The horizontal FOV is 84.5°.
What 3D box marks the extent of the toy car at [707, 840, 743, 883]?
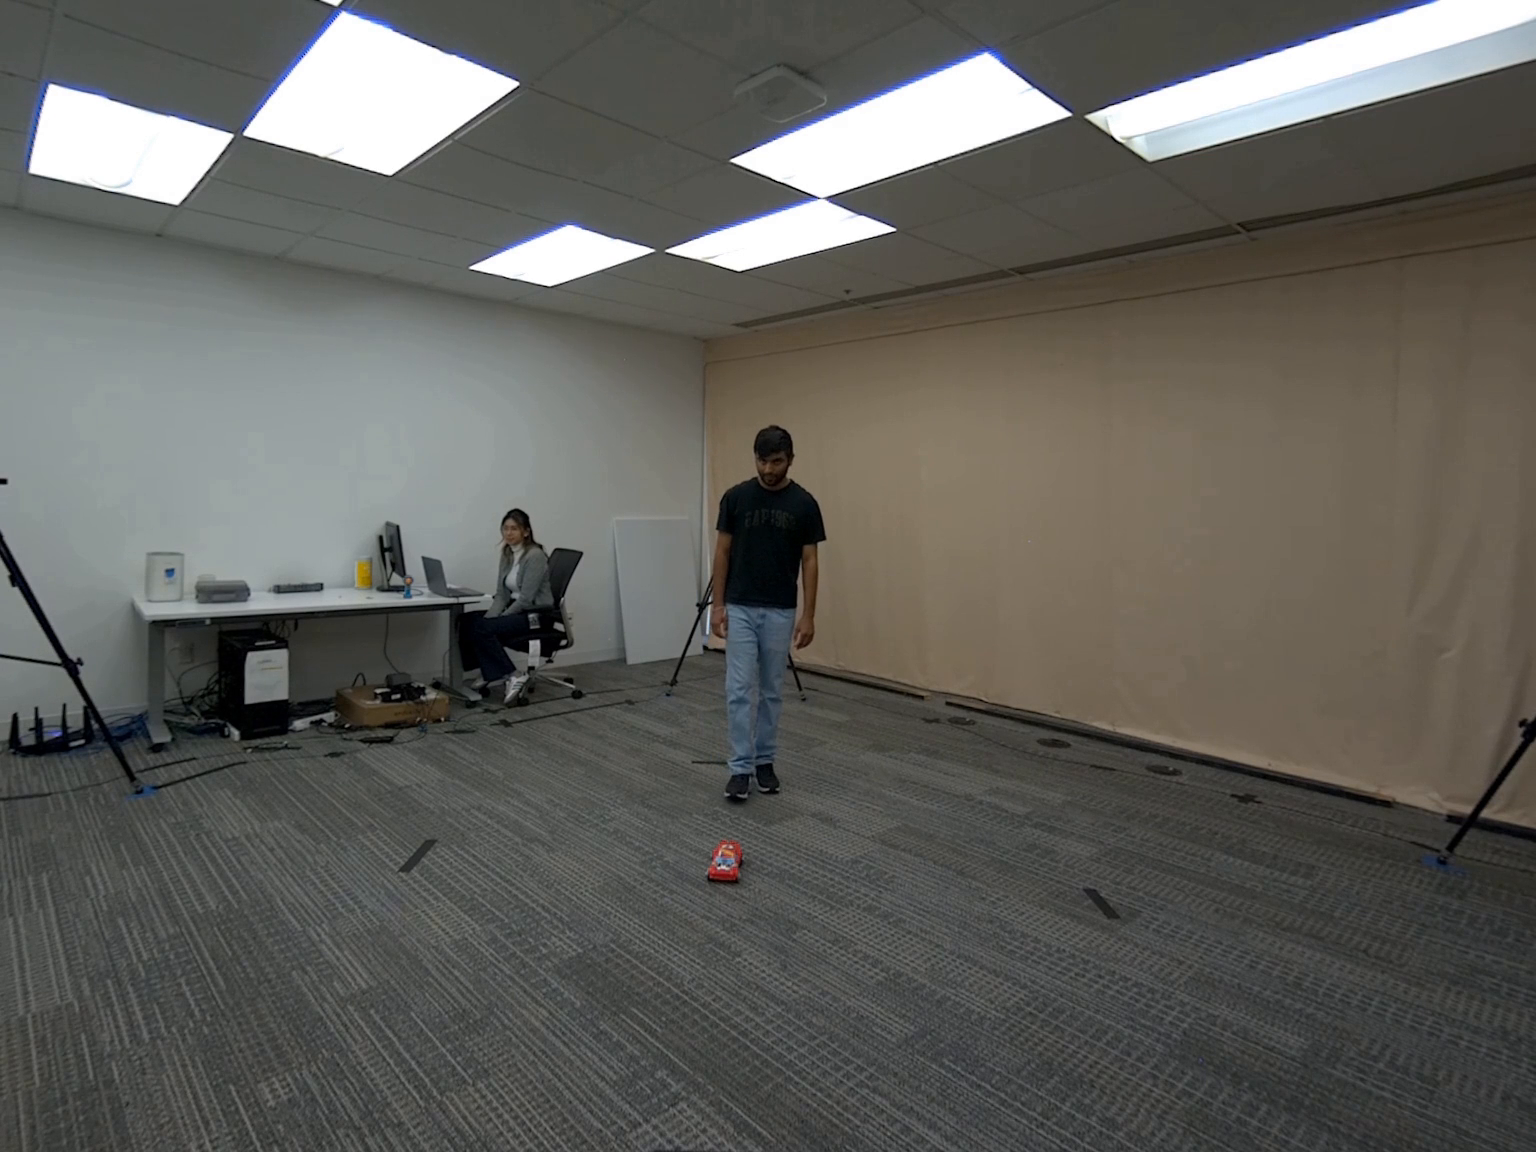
[{"bbox_3d":[-0.169,1.072,3.149,0.131,0.082,0.256,2,16,4],"label":"toy car"}]
